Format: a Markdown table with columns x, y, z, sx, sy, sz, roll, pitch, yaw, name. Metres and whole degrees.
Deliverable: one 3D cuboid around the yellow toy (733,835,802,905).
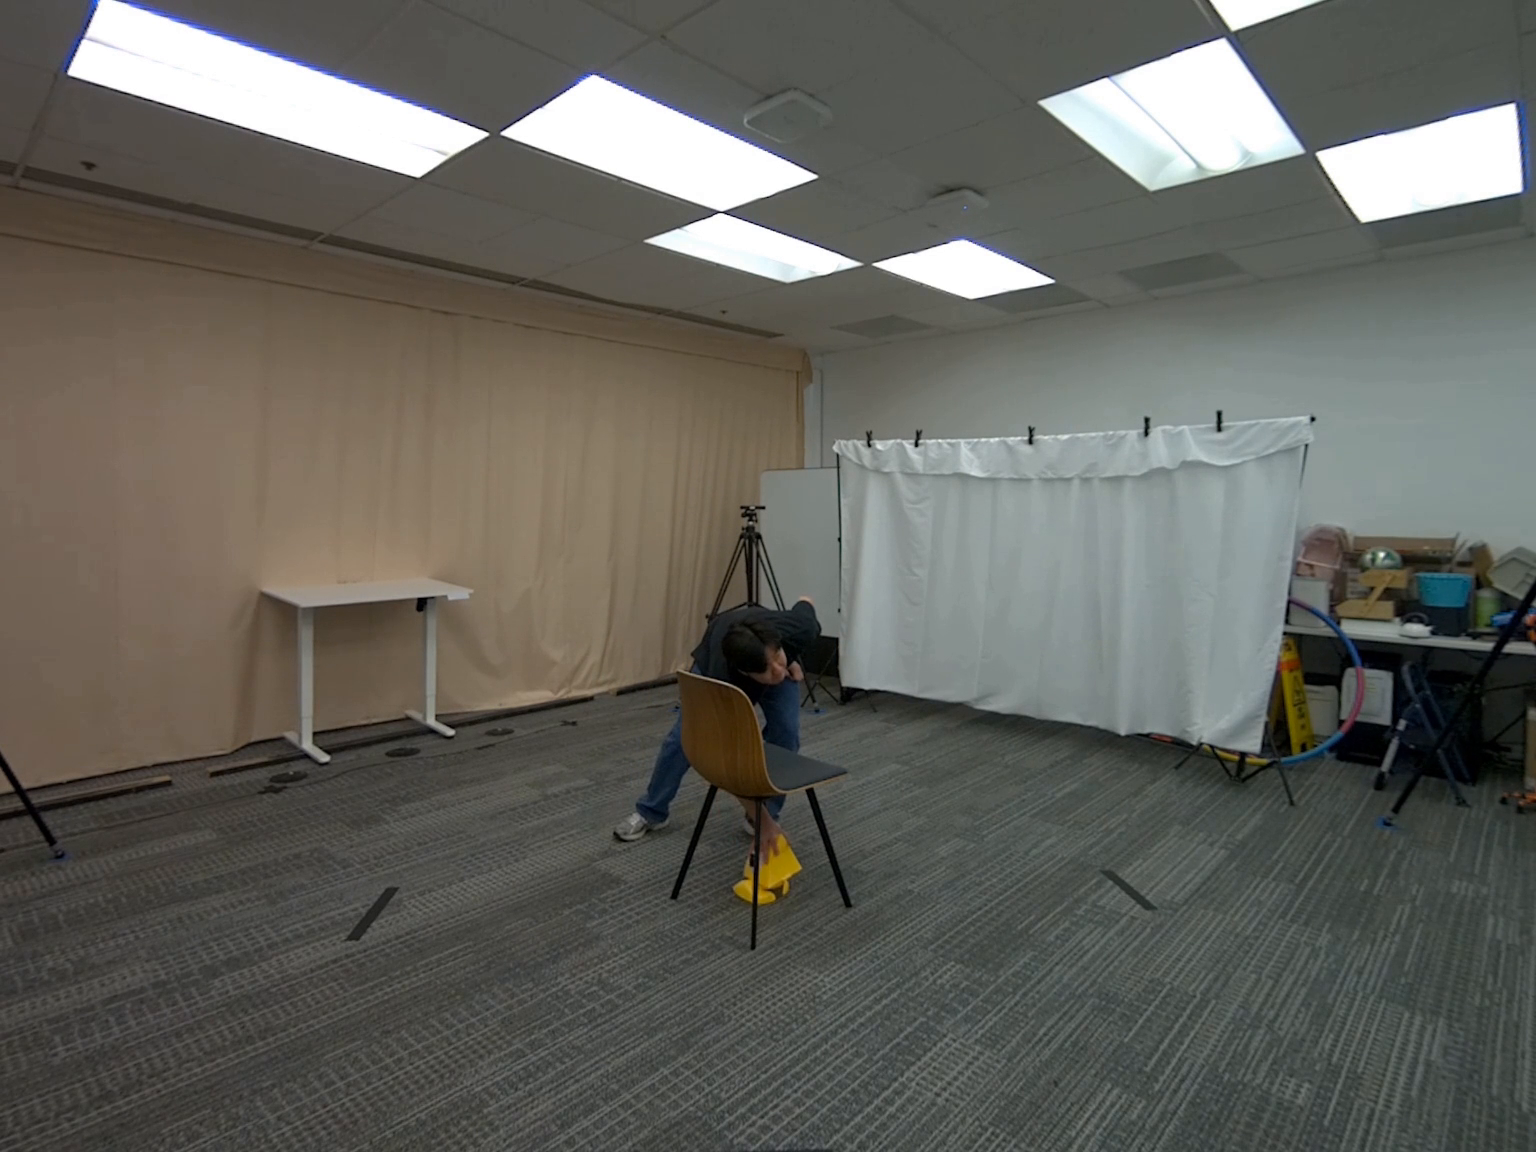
| x | y | z | sx | sy | sz | roll | pitch | yaw | name |
| --- | --- | --- | --- | --- | --- | --- | --- | --- | --- |
| -0.006 | 1.025 | 3.029 | 0.199 | 0.230 | 0.199 | 8 | 7 | 37 | yellow toy |
